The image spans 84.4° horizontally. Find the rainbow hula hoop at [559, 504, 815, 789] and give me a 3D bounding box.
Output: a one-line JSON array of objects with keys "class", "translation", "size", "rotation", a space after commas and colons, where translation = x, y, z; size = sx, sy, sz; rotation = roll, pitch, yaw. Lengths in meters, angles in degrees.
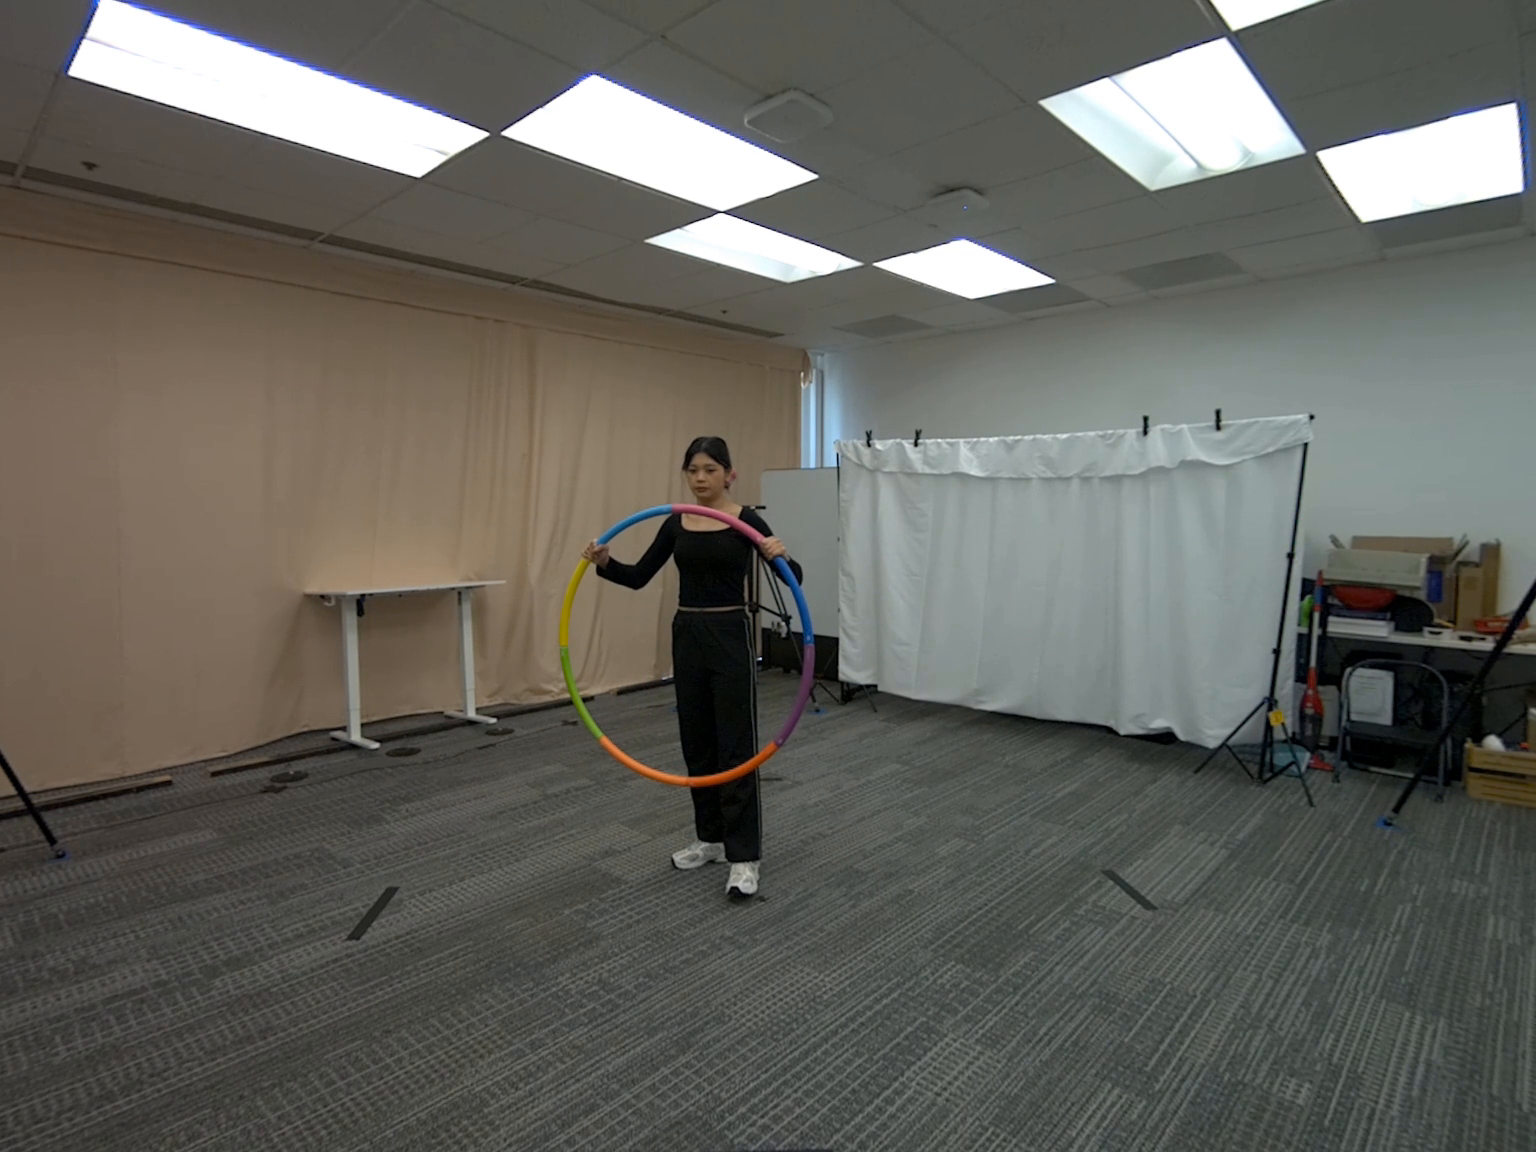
[{"class": "rainbow hula hoop", "translation": [-0.305, 0.244, 2.978], "size": [0.999, 0.977, 0.035], "rotation": [1, 2, 20]}]
